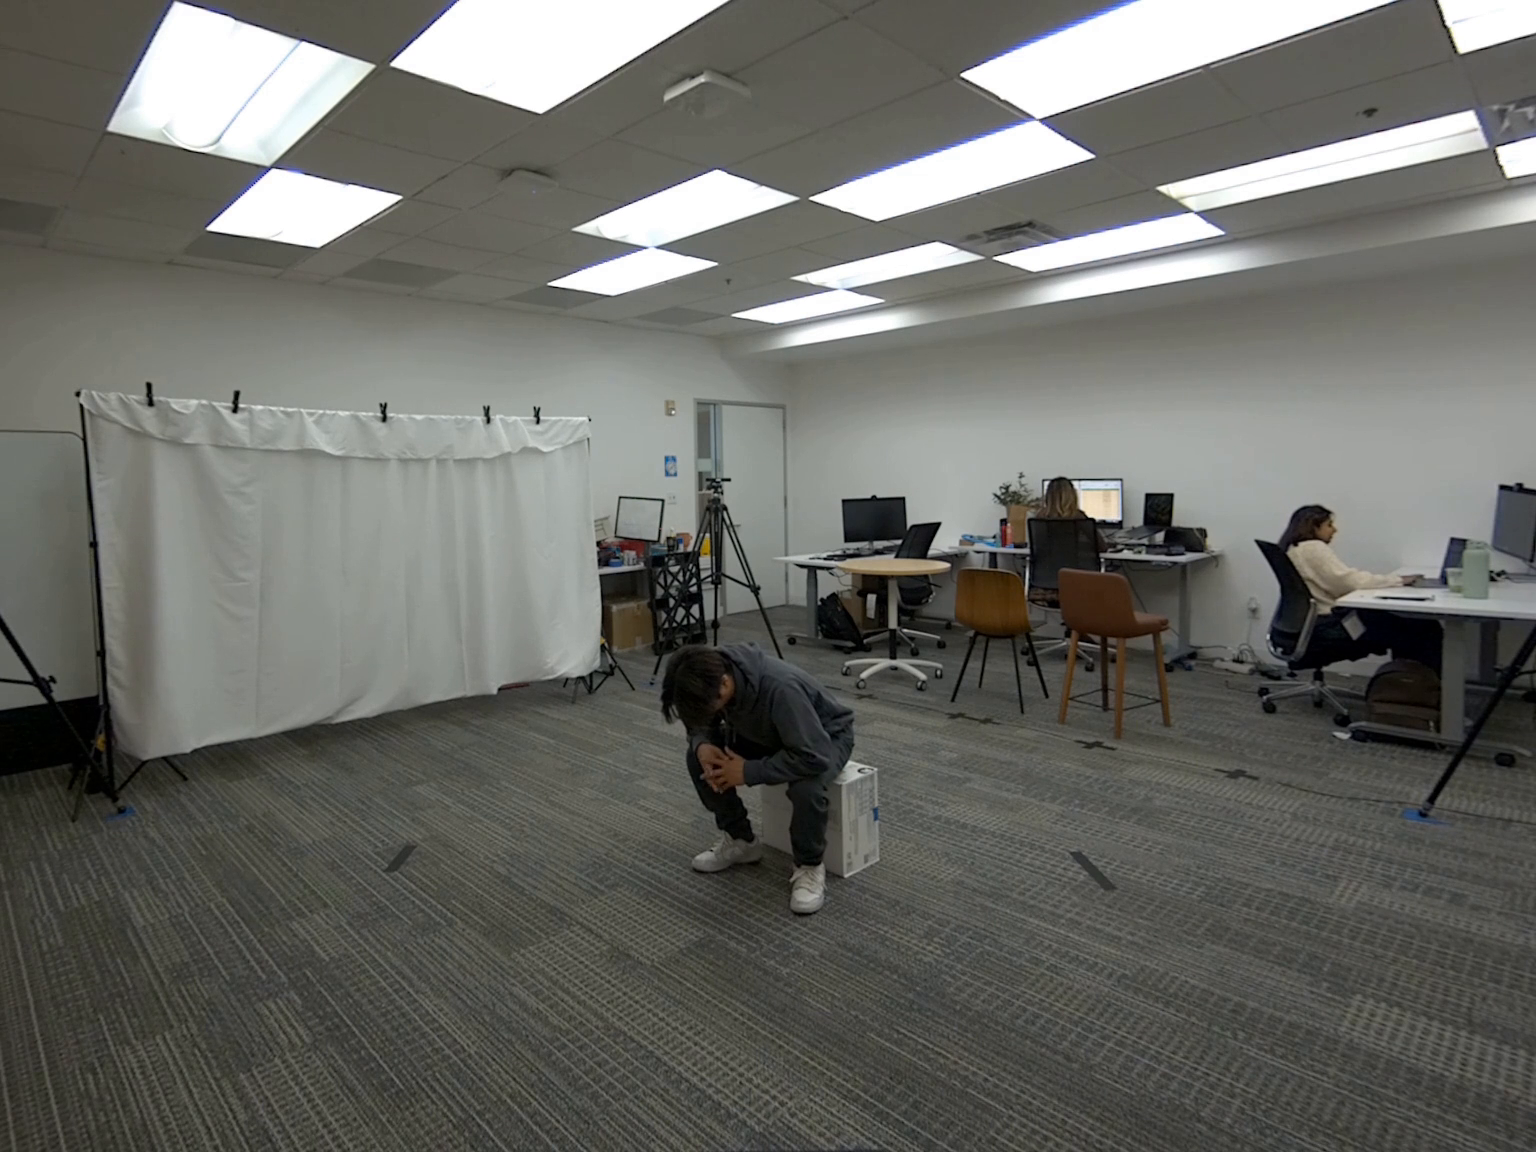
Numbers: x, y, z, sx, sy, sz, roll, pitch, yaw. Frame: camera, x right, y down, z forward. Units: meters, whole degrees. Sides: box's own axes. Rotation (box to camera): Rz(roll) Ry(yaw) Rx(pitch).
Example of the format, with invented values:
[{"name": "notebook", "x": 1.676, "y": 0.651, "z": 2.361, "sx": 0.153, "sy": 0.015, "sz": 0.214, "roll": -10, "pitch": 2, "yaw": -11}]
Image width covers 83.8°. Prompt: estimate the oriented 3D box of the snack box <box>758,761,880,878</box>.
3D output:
[{"name": "snack box", "x": 0.192, "y": 0.860, "z": 3.180, "sx": 0.200, "sy": 0.339, "sz": 0.418, "roll": -7, "pitch": 7, "yaw": -43}]
